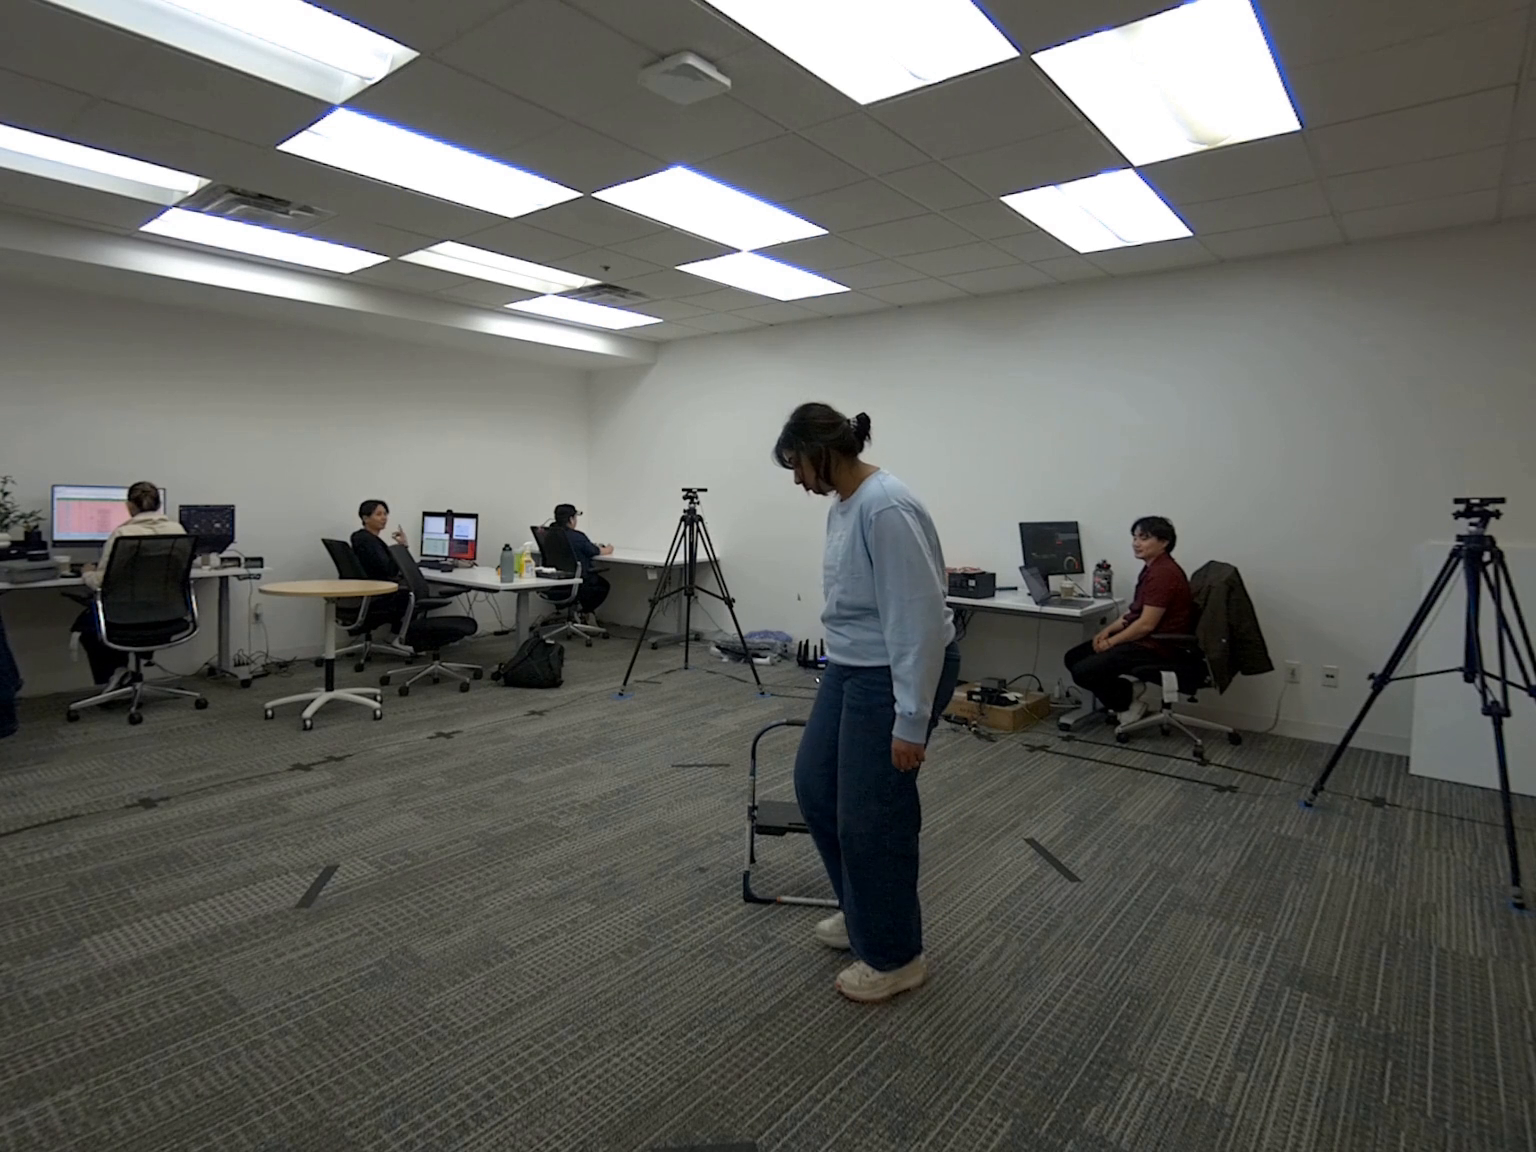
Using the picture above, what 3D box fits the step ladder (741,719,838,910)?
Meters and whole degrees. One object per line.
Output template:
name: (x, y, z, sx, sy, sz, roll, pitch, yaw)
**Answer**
step ladder: (0.128, 0.787, 2.993, 0.433, 0.605, 0.348, 2, 3, 4)
